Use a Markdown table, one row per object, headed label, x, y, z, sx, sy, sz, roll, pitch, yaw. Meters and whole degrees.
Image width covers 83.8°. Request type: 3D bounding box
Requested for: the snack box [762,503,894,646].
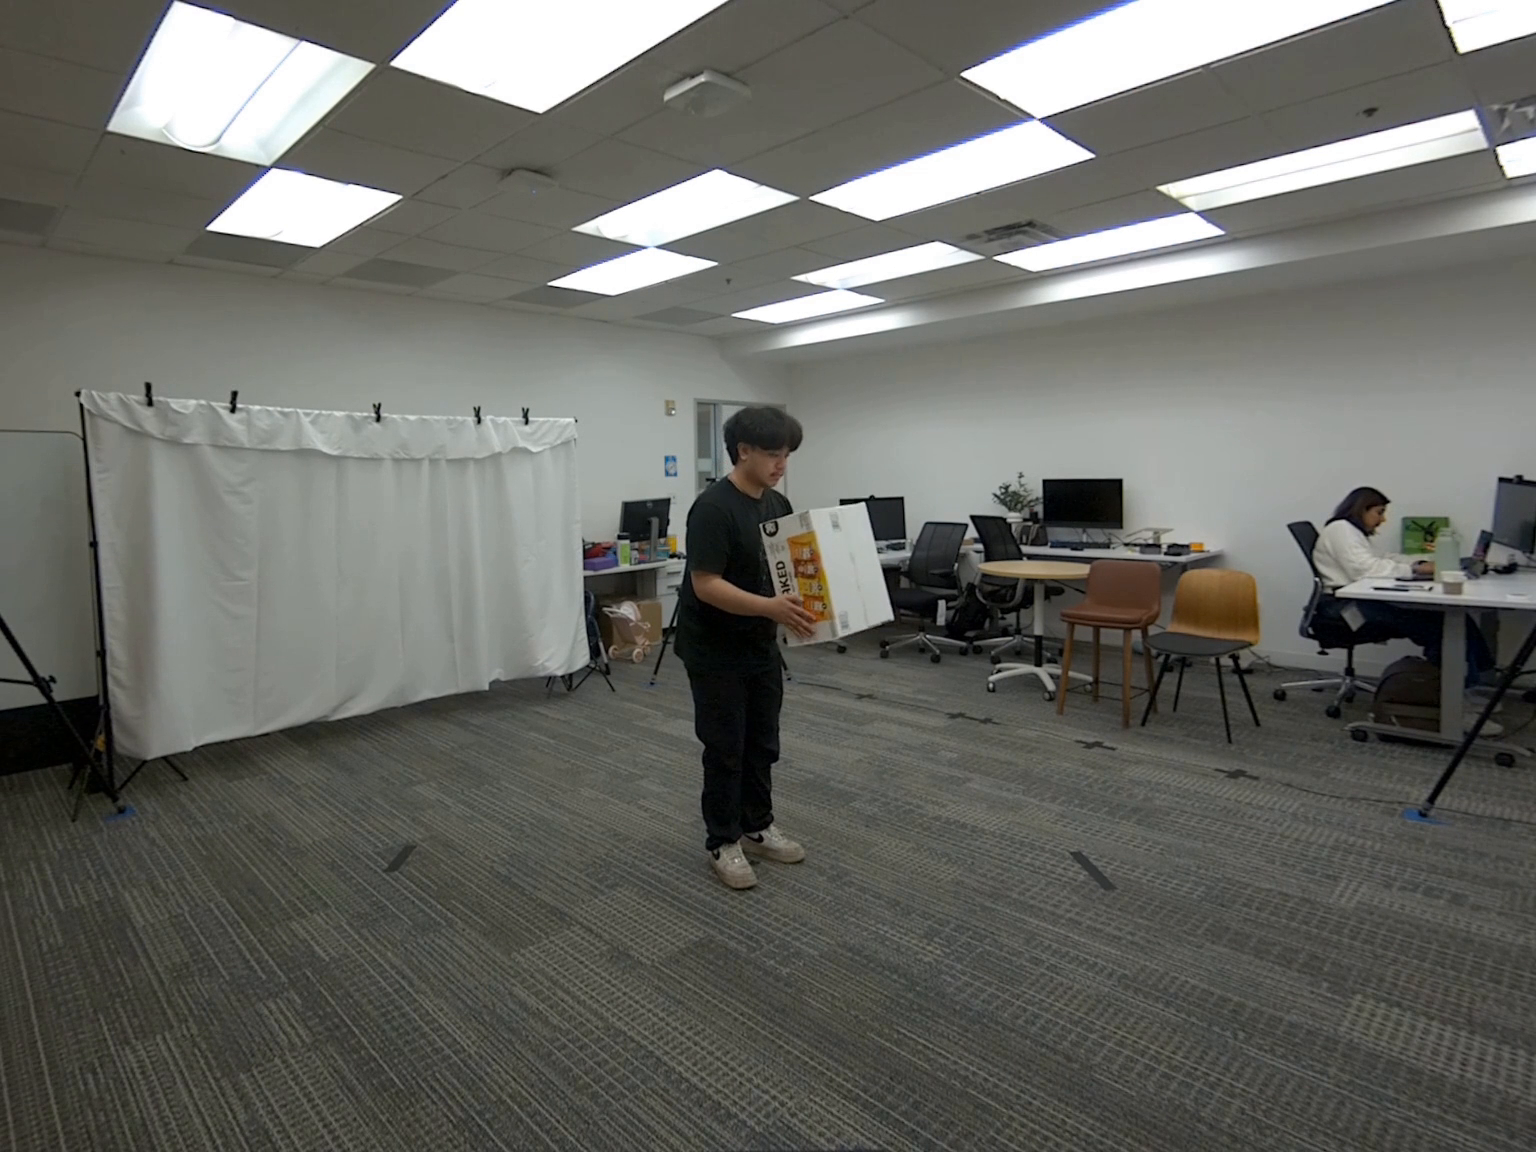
| label | x | y | z | sx | sy | sz | roll | pitch | yaw |
| --- | --- | --- | --- | --- | --- | --- | --- | --- | --- |
| snack box | 0.190 | -0.007 | 2.797 | 0.210 | 0.407 | 0.332 | -16 | -4 | 39 |
